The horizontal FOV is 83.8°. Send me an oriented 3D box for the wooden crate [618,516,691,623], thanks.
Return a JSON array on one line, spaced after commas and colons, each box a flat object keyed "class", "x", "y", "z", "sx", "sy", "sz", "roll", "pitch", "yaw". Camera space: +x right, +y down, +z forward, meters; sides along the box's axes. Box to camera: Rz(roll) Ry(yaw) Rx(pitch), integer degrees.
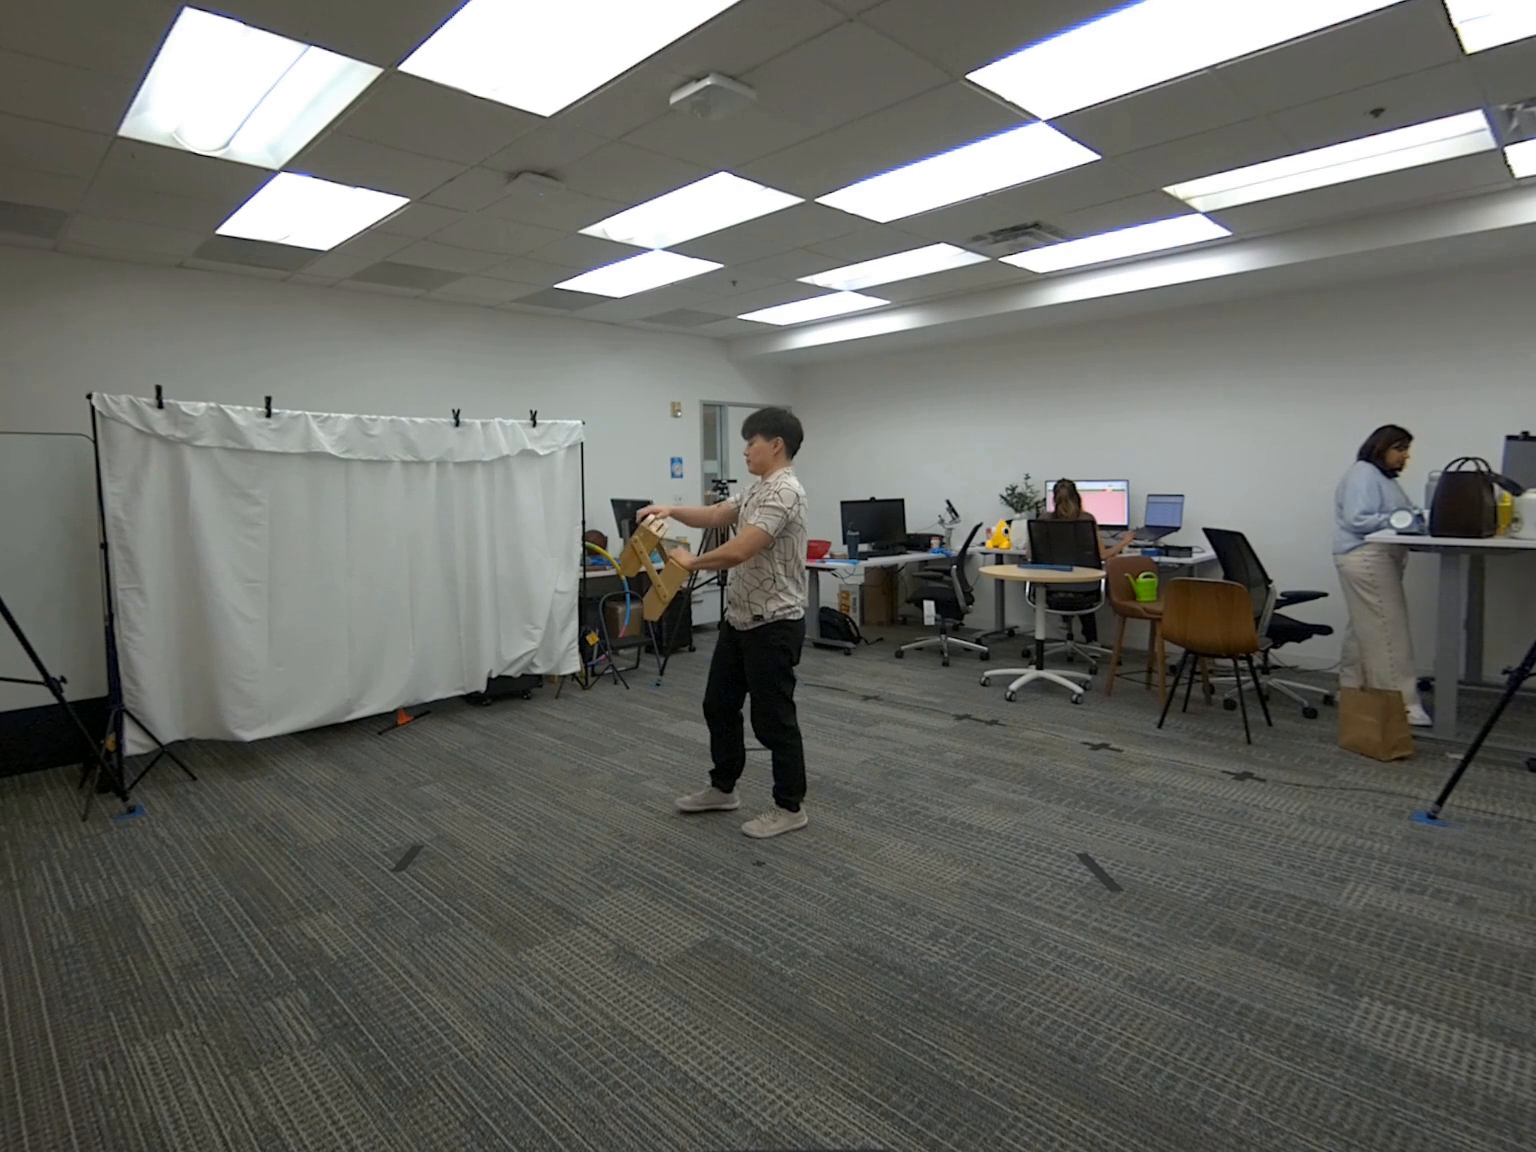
[{"class": "wooden crate", "x": -0.469, "y": -0.039, "z": 3.412, "sx": 0.272, "sy": 0.301, "sz": 0.326, "roll": 36, "pitch": 9, "yaw": -4}]
